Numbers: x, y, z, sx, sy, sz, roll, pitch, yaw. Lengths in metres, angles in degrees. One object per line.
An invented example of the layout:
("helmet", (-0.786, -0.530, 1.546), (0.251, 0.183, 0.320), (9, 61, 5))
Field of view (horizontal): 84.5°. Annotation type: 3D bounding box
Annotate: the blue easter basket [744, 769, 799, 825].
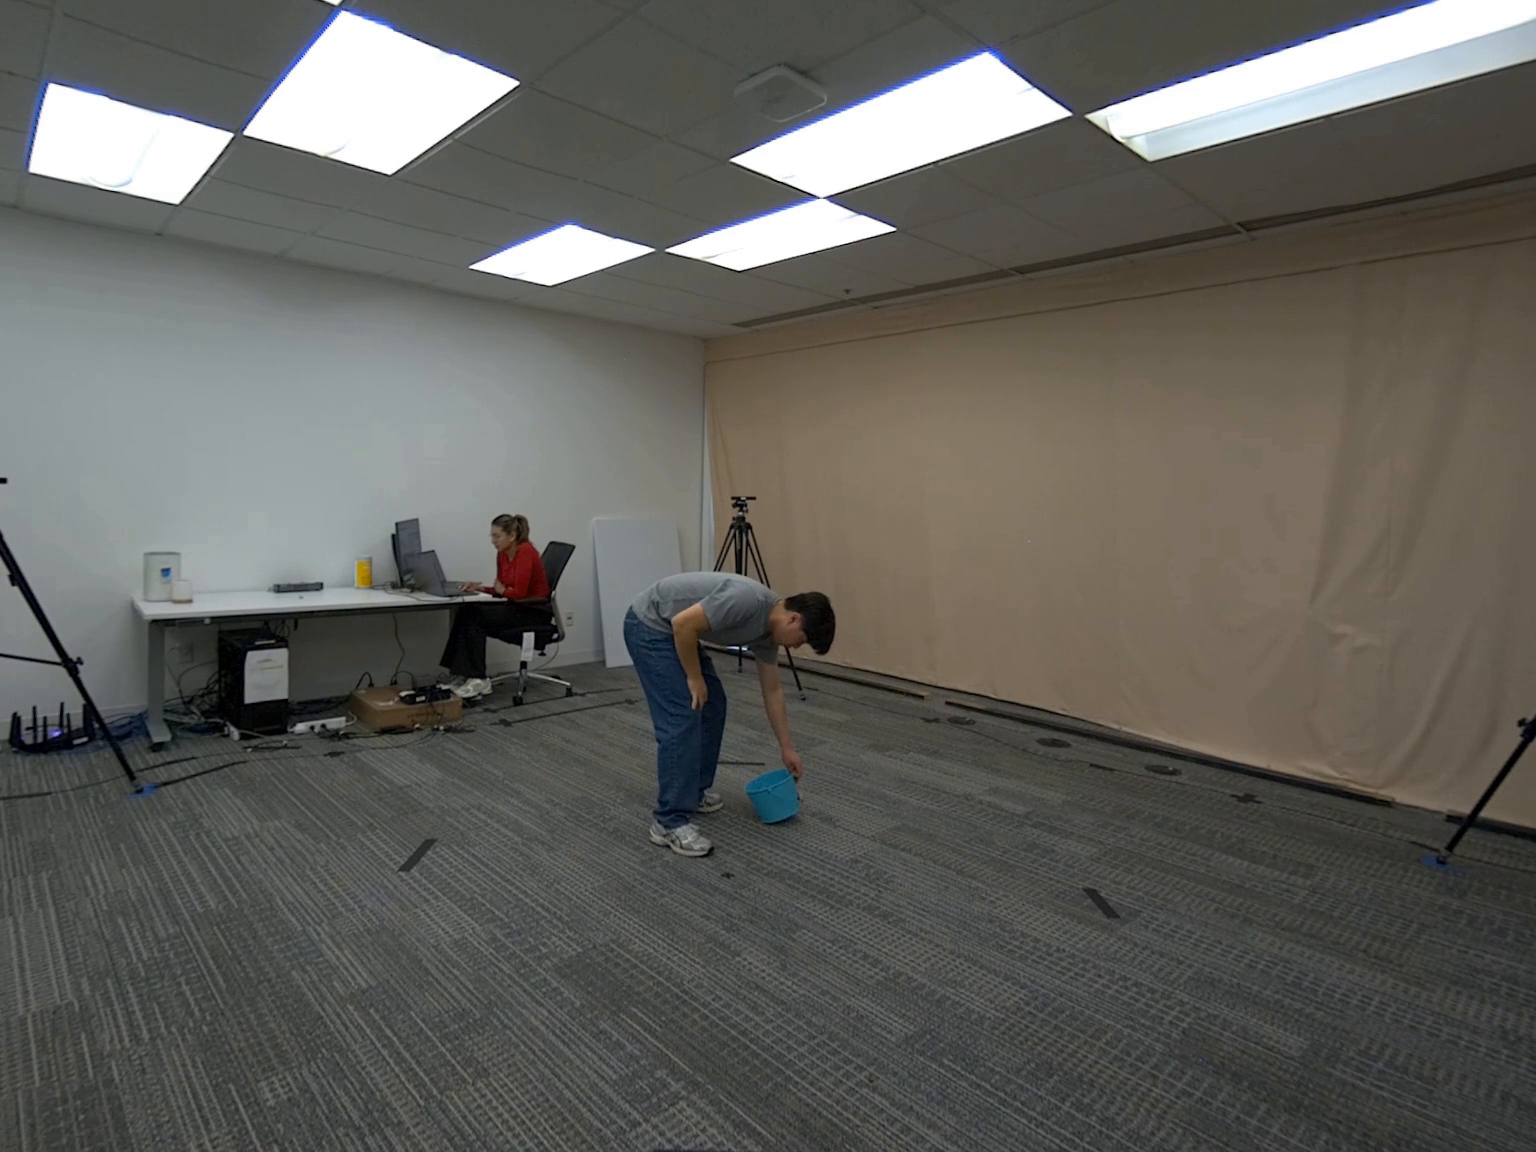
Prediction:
("blue easter basket", (0.015, 0.959, 3.654), (0.243, 0.155, 0.244), (-19, 3, -1))
